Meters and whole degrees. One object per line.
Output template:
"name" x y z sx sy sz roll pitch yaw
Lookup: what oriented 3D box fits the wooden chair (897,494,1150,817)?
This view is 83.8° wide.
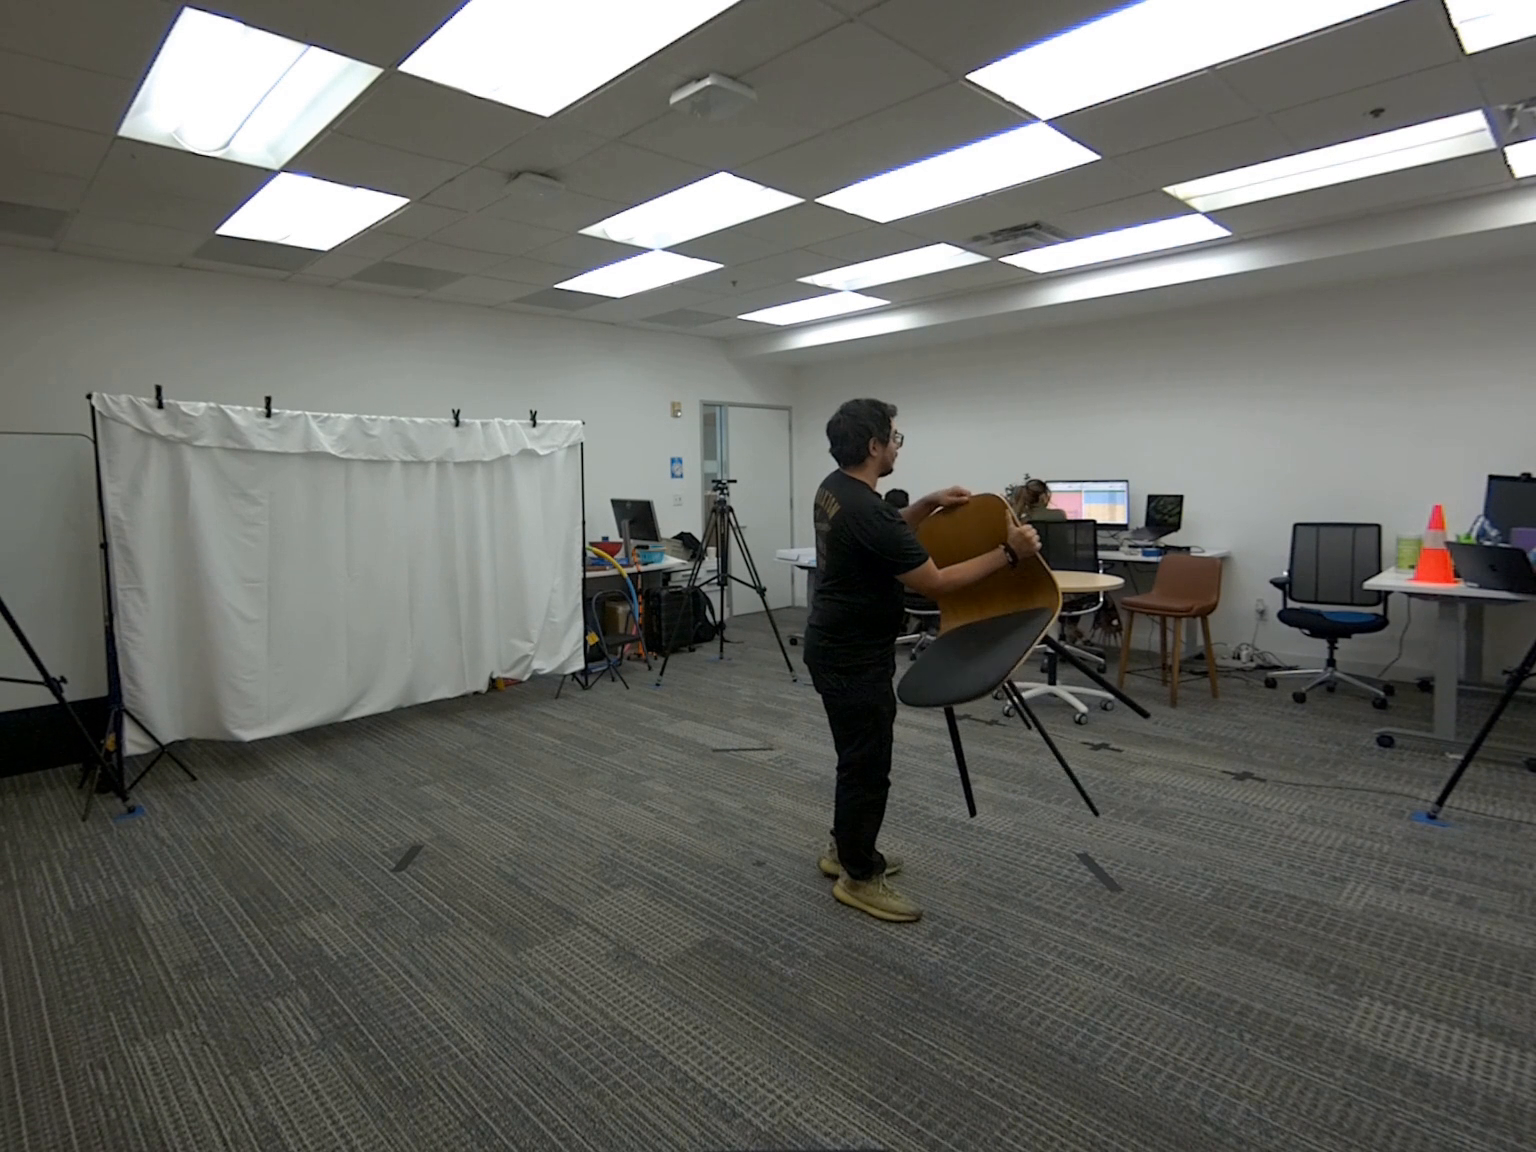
"wooden chair" 0.675 0.247 2.619 0.518 0.872 0.485 -34 7 -39
